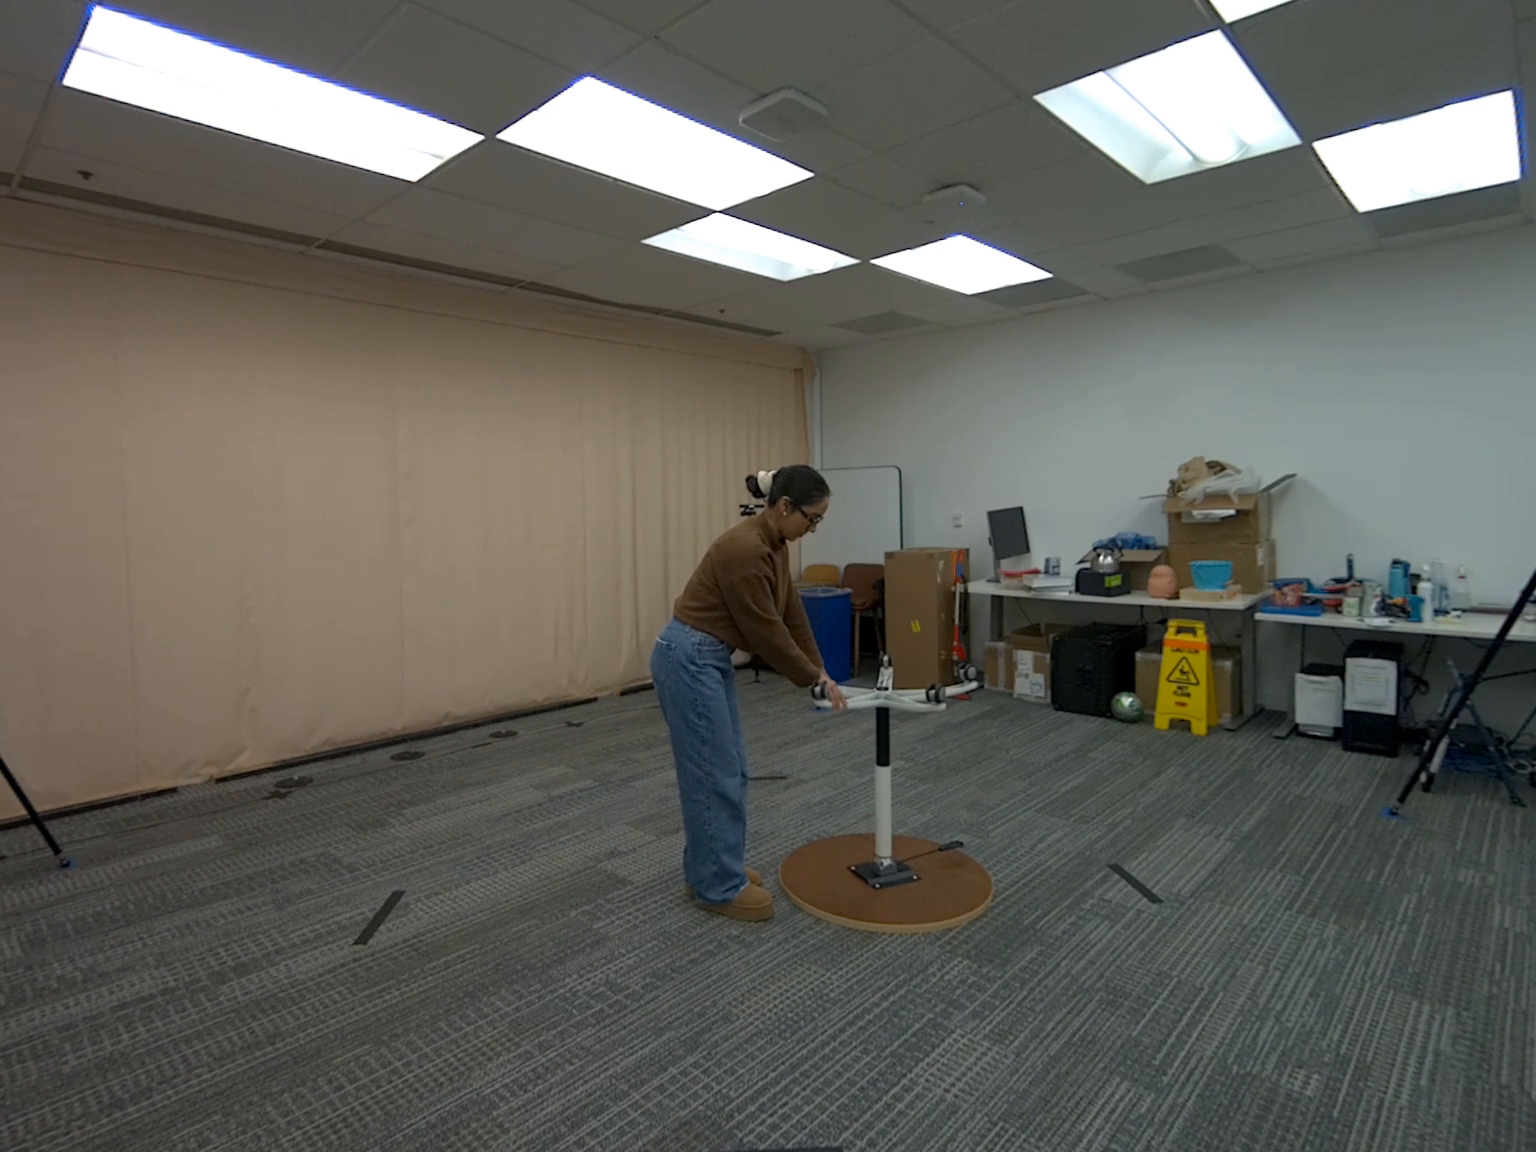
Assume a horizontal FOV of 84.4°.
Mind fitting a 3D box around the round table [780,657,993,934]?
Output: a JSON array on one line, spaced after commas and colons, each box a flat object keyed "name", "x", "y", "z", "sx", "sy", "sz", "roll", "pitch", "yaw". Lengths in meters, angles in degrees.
[{"name": "round table", "x": 0.430, "y": 0.730, "z": 3.072, "sx": 0.763, "sy": 0.792, "sz": 0.767, "roll": 0, "pitch": 5, "yaw": -2}]
